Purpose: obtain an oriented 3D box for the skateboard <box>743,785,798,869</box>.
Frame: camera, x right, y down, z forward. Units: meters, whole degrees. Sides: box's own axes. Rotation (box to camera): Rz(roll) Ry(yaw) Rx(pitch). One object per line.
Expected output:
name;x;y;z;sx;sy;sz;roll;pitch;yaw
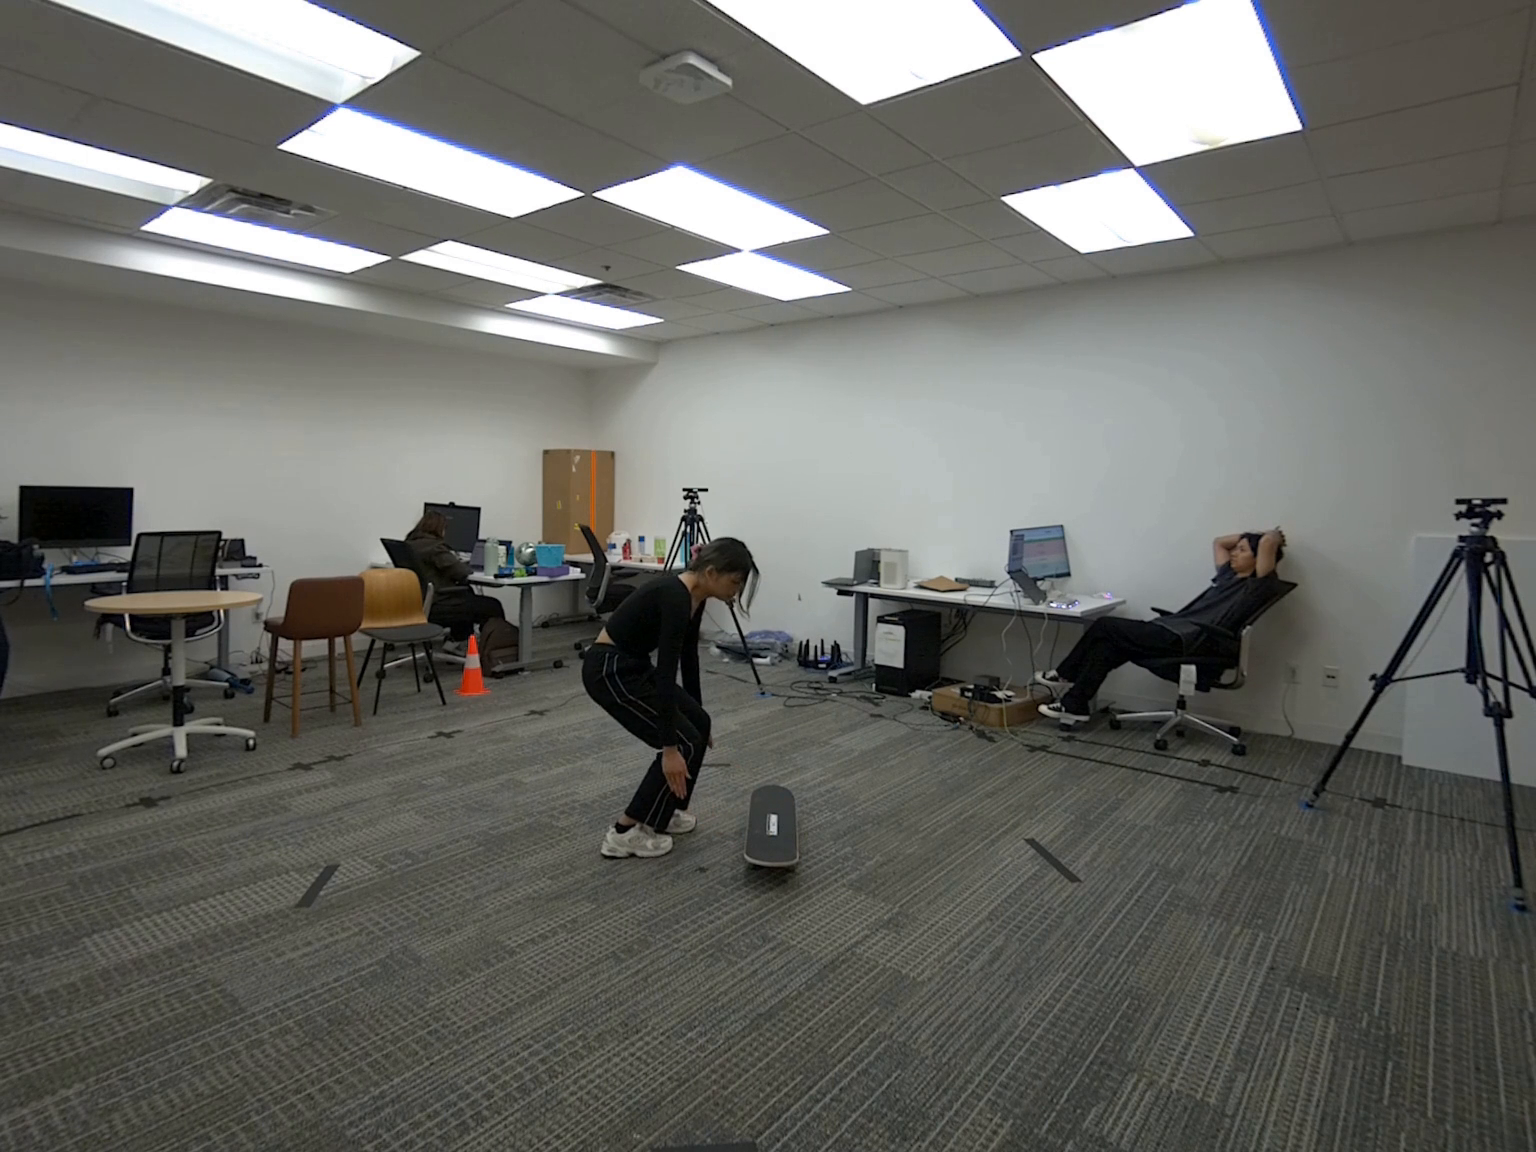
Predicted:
skateboard;0.005;0.990;3.313;0.194;0.110;0.786;1;6;1
